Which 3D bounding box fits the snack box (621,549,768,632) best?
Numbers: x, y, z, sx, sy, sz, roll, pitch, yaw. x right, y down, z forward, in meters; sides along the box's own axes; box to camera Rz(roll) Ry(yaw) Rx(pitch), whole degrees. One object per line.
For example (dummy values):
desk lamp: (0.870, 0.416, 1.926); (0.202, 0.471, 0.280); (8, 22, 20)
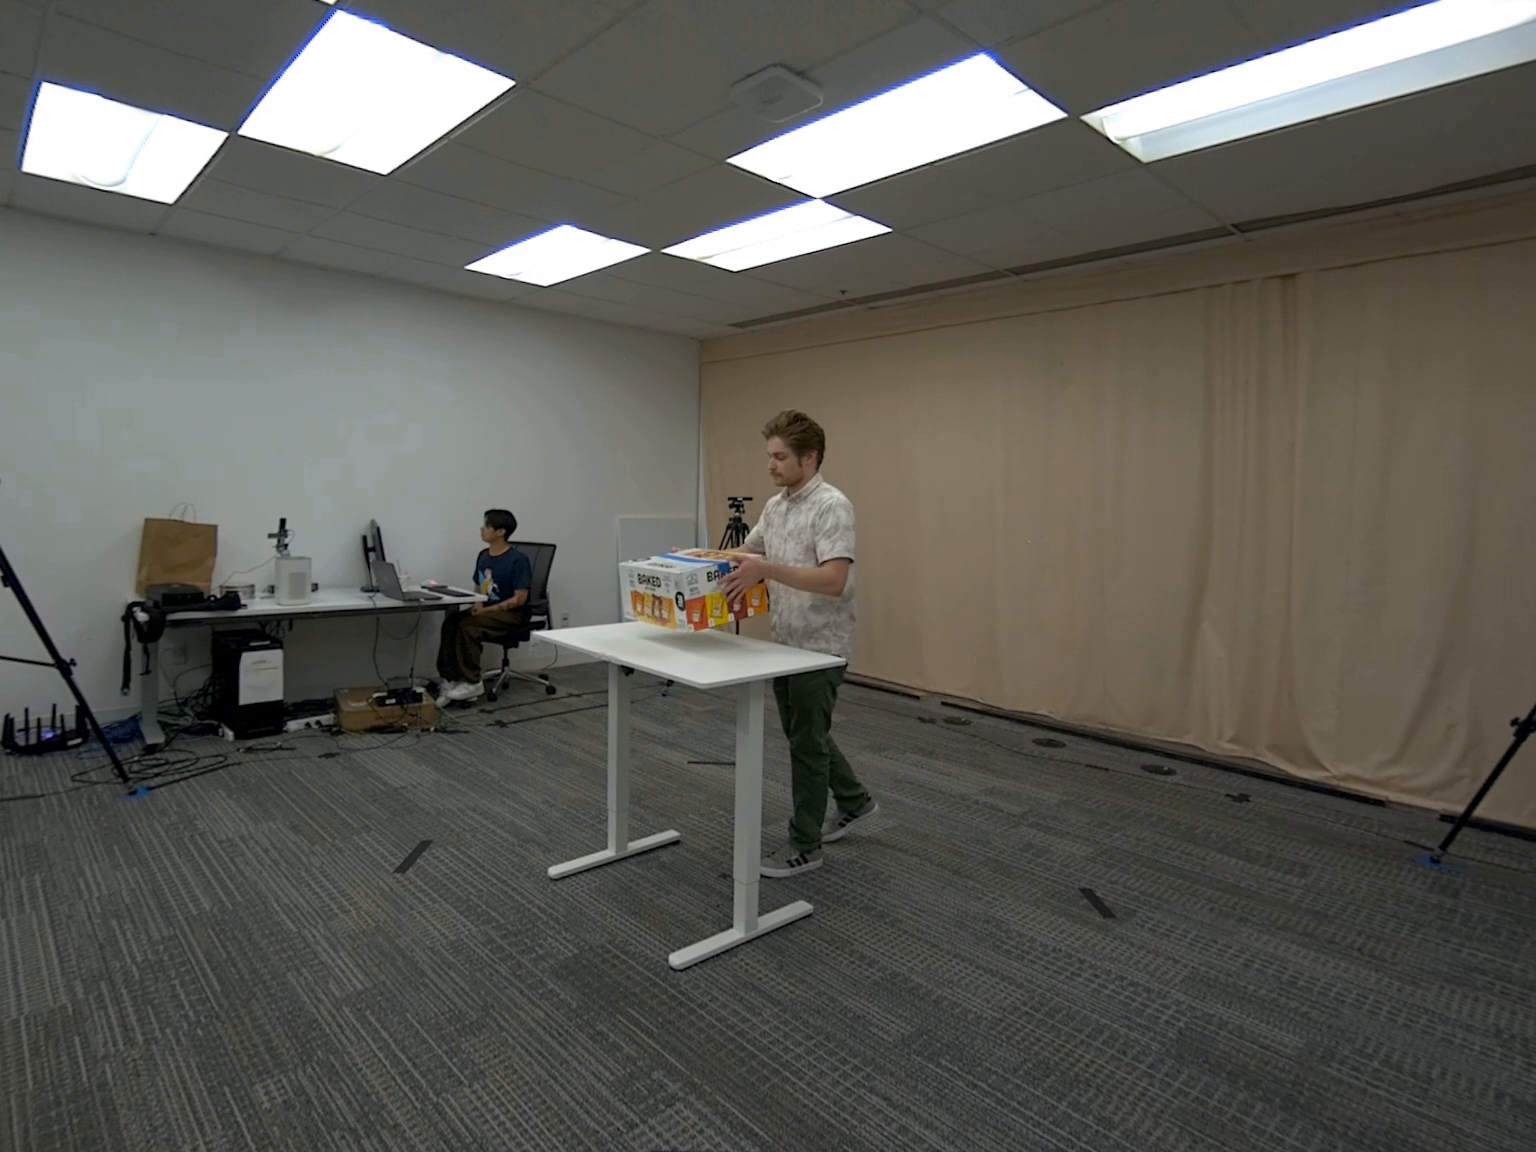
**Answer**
snack box: (-0.272, 0.041, 2.963); (0.334, 0.204, 0.415); (-11, 11, -37)
